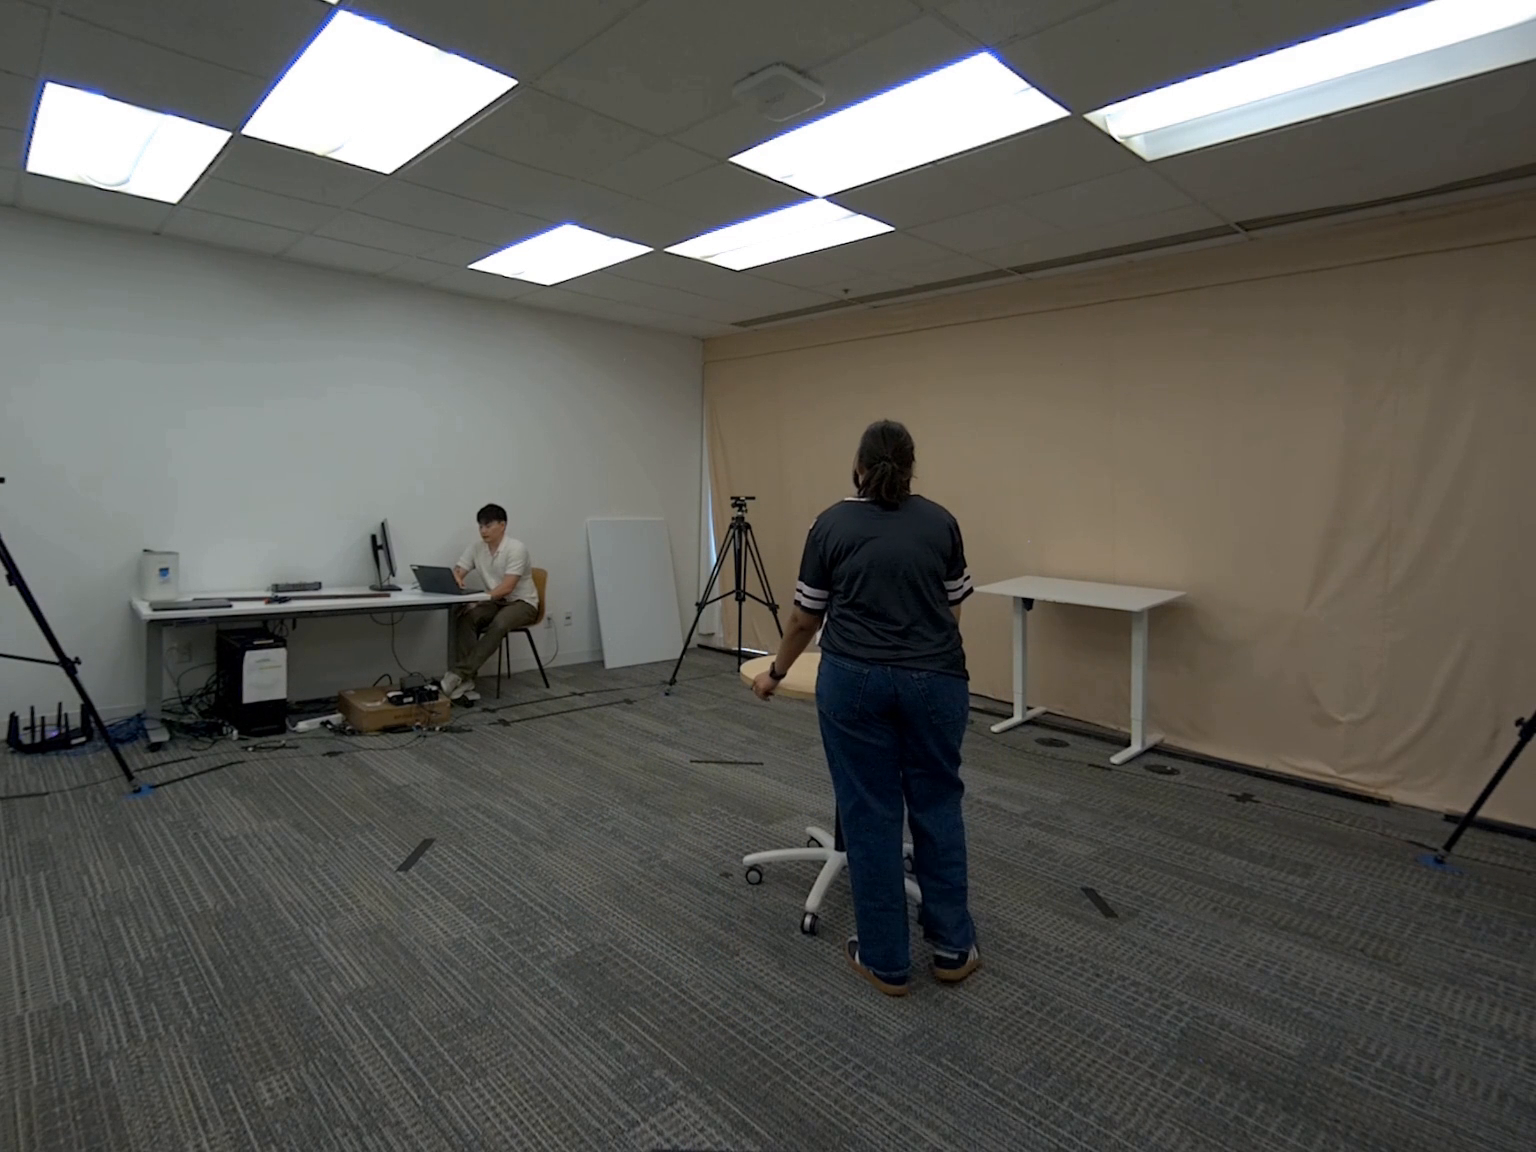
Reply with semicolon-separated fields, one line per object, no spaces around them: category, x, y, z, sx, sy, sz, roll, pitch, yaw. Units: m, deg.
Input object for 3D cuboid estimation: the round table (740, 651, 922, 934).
round table;0.257;0.734;3.001;0.784;0.785;0.787;2;4;-1
